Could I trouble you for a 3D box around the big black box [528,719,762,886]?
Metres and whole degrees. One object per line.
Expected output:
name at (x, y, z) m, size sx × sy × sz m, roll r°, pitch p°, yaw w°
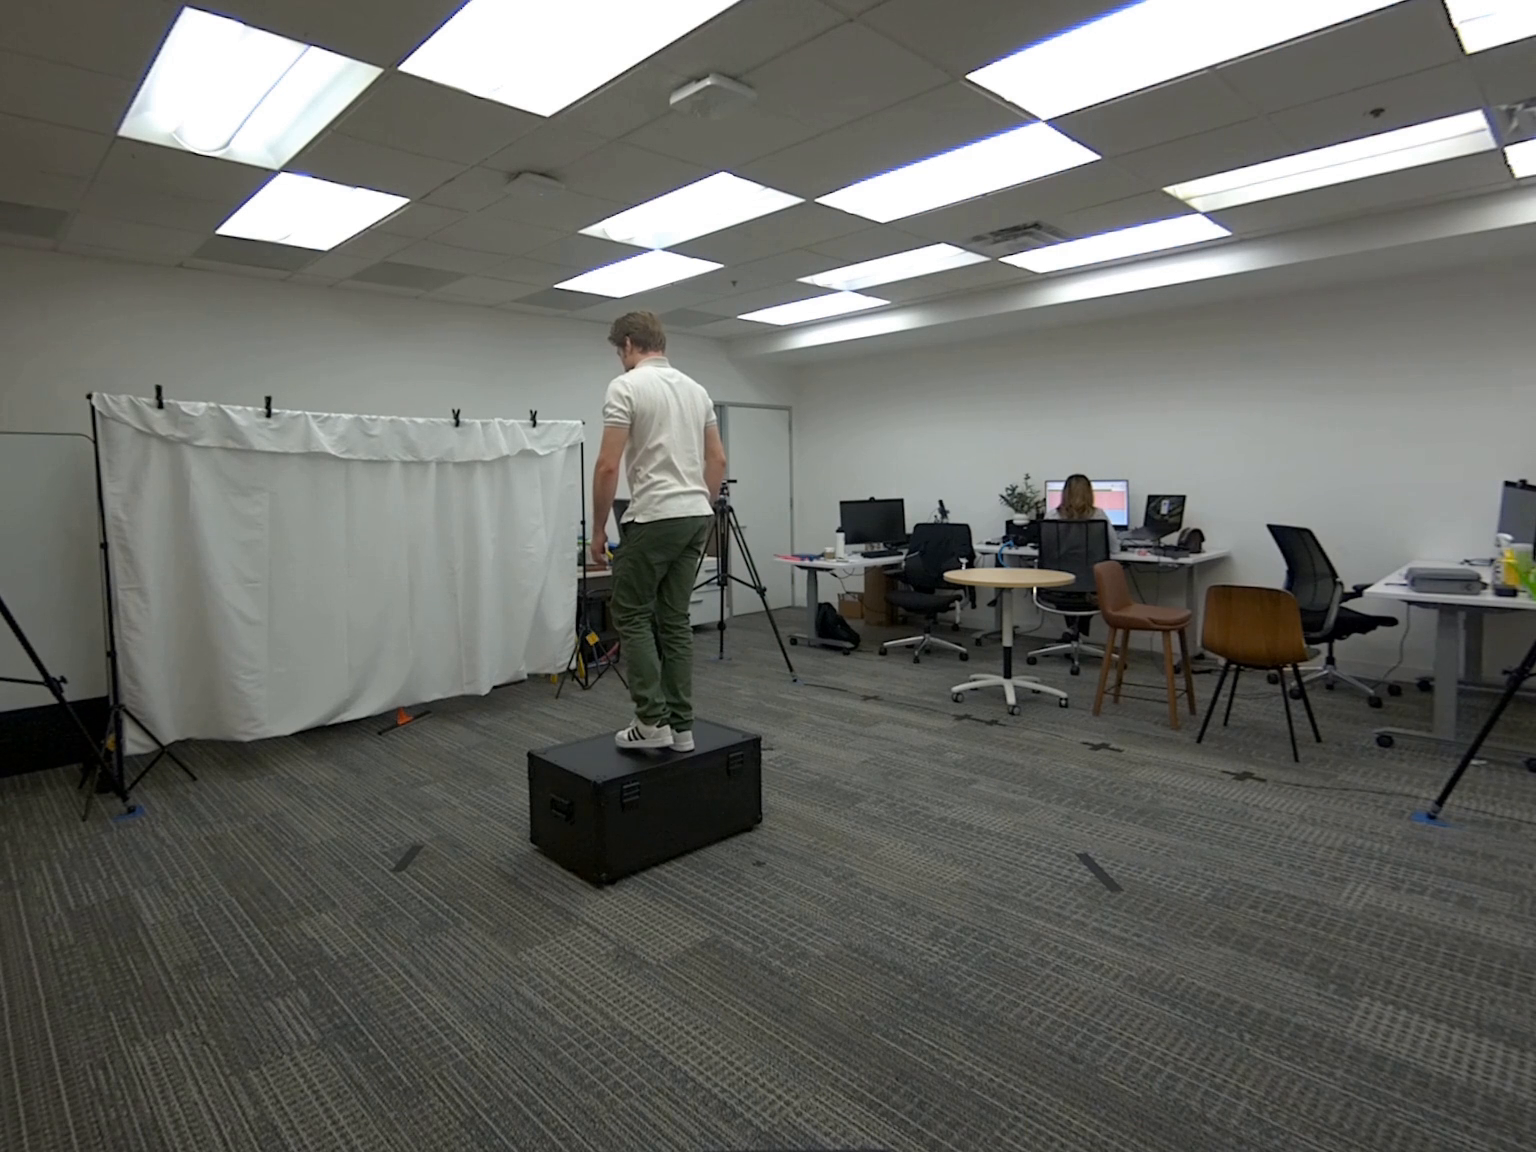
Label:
big black box at (-0.443, 0.839, 3.361) m, size 0.839 × 0.394 × 0.537 m, roll -7°, pitch 8°, yaw -43°
